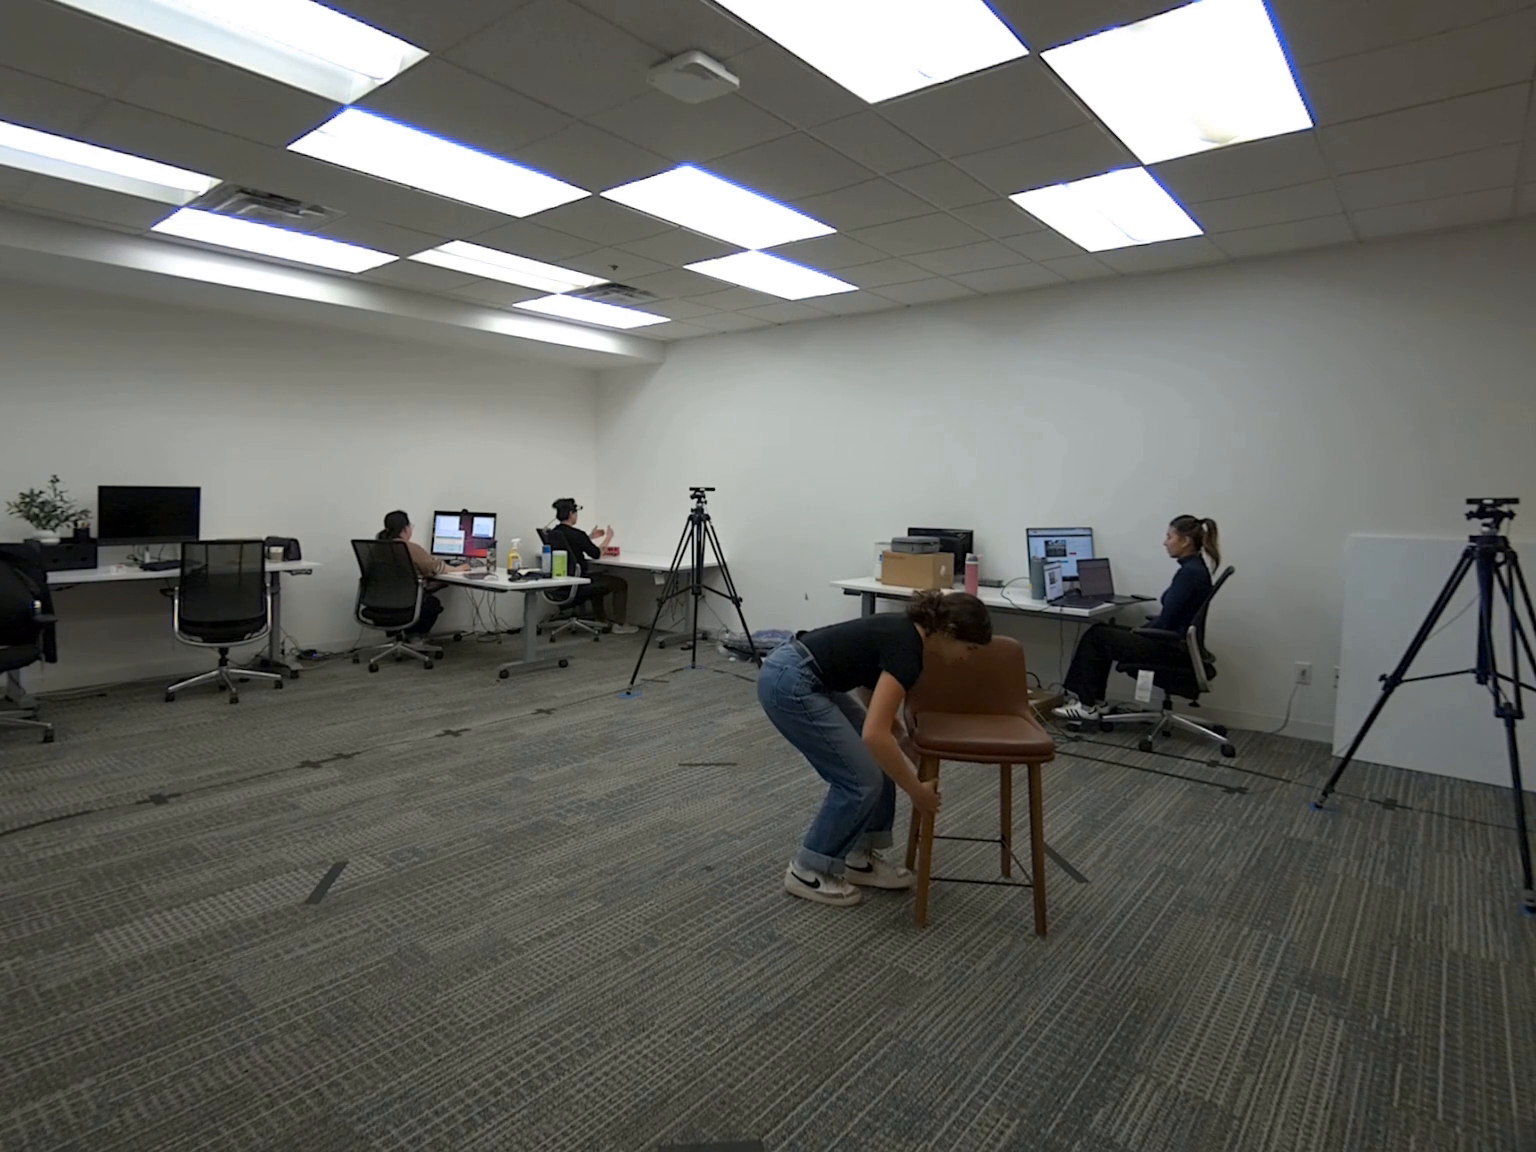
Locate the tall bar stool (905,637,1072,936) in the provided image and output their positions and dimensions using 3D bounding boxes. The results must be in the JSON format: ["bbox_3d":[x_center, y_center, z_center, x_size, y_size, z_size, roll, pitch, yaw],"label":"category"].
[{"bbox_3d":[0.697,0.675,2.898,0.460,0.888,0.465,2,2,5],"label":"tall bar stool"}]
